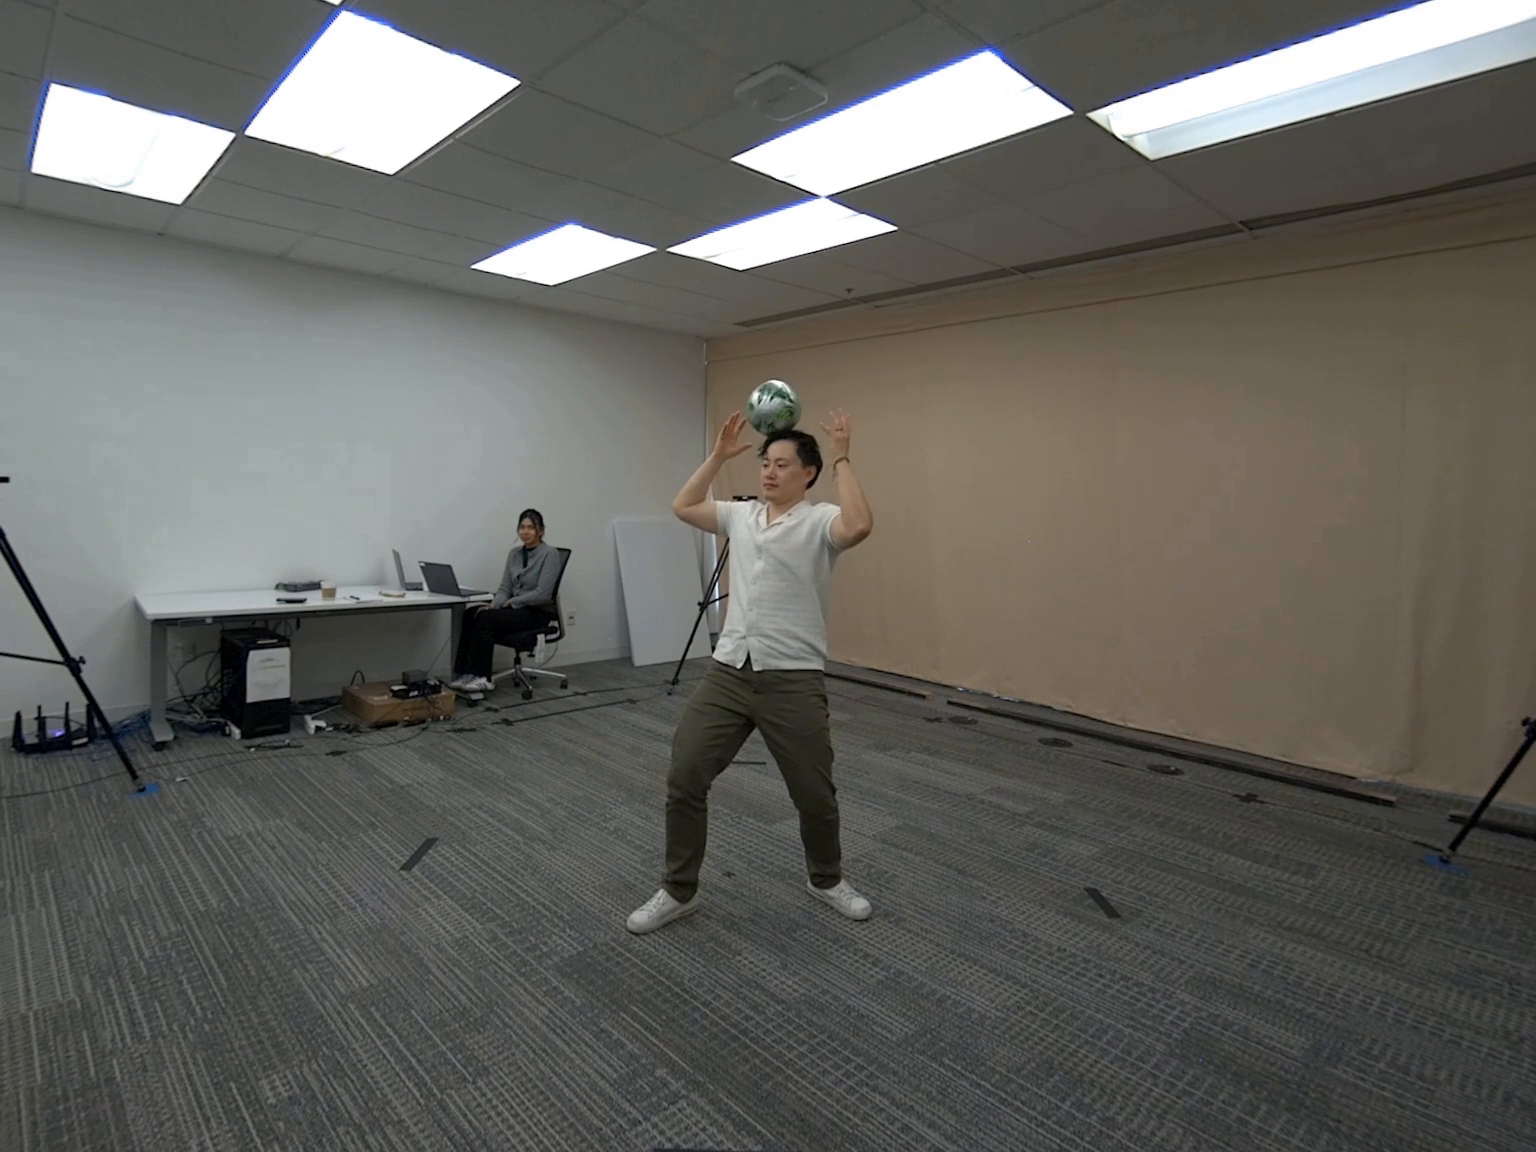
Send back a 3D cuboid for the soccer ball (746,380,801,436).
[{"bbox_3d":[0.006,-0.557,2.856,0.187,0.187,0.188,1,4,-1],"label":"soccer ball"}]
